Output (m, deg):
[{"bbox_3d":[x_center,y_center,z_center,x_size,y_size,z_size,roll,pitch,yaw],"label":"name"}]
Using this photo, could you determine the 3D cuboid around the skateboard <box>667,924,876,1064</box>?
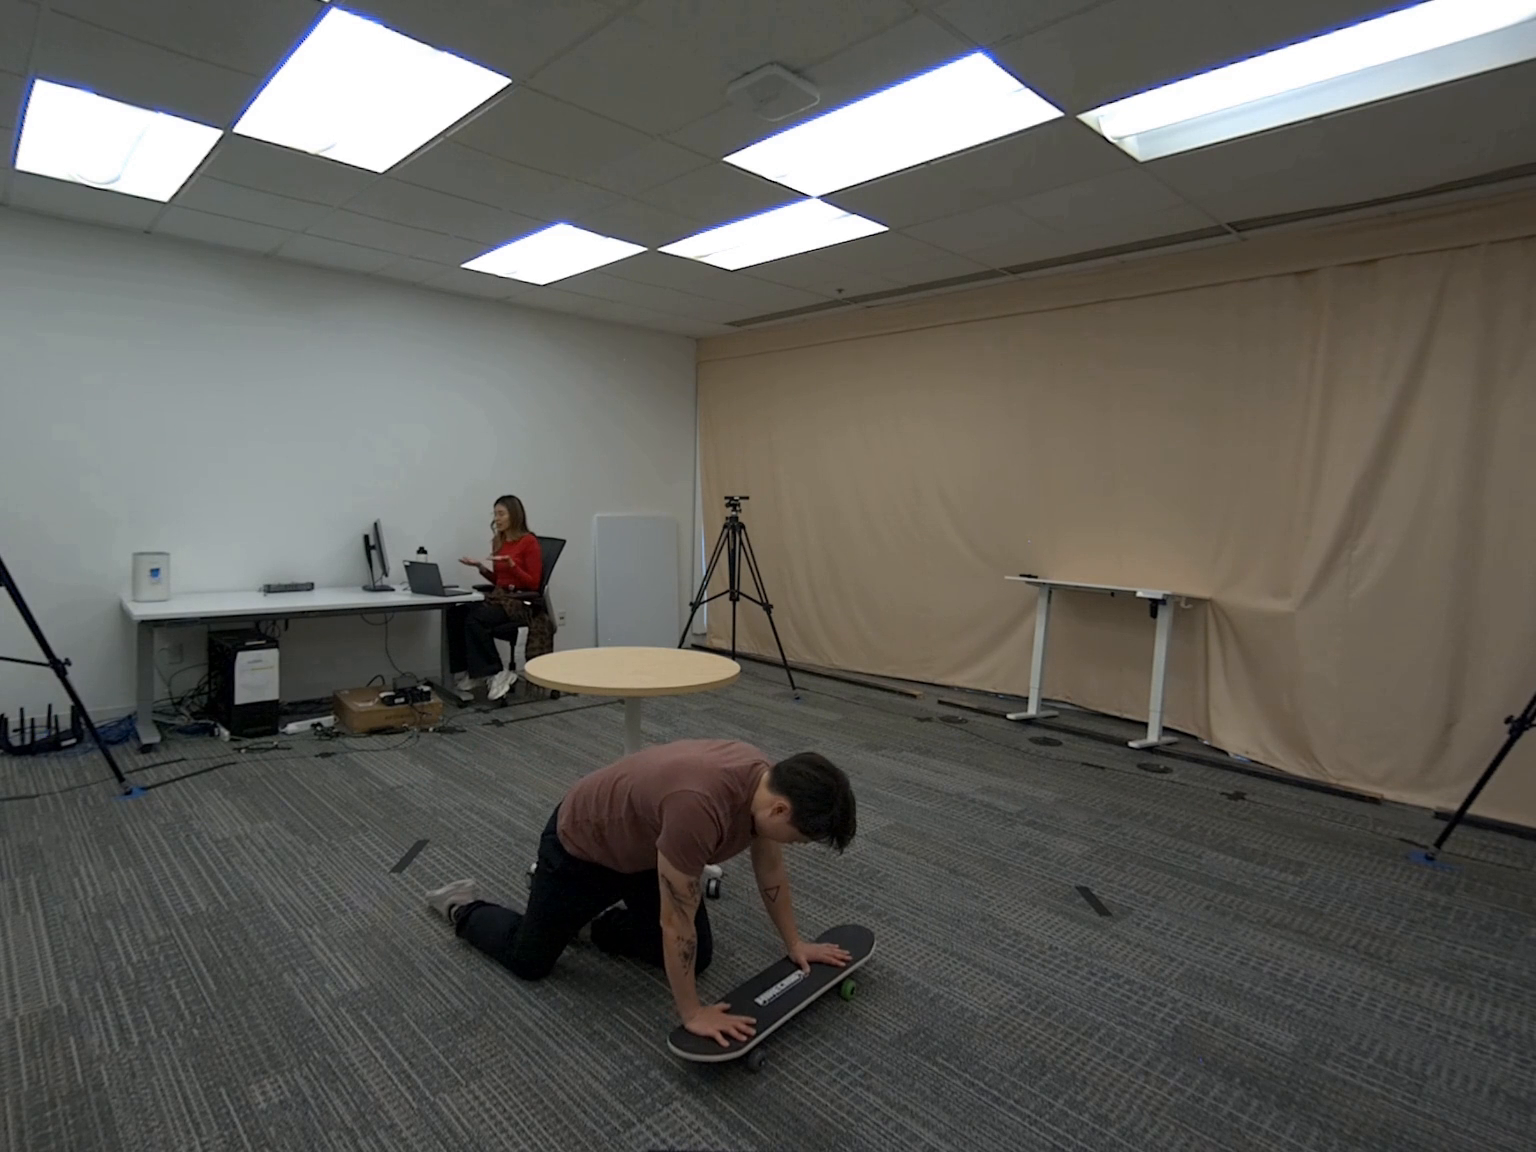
[{"bbox_3d":[0.037,1.130,2.250,0.198,0.110,0.768,1,4,39],"label":"skateboard"}]
